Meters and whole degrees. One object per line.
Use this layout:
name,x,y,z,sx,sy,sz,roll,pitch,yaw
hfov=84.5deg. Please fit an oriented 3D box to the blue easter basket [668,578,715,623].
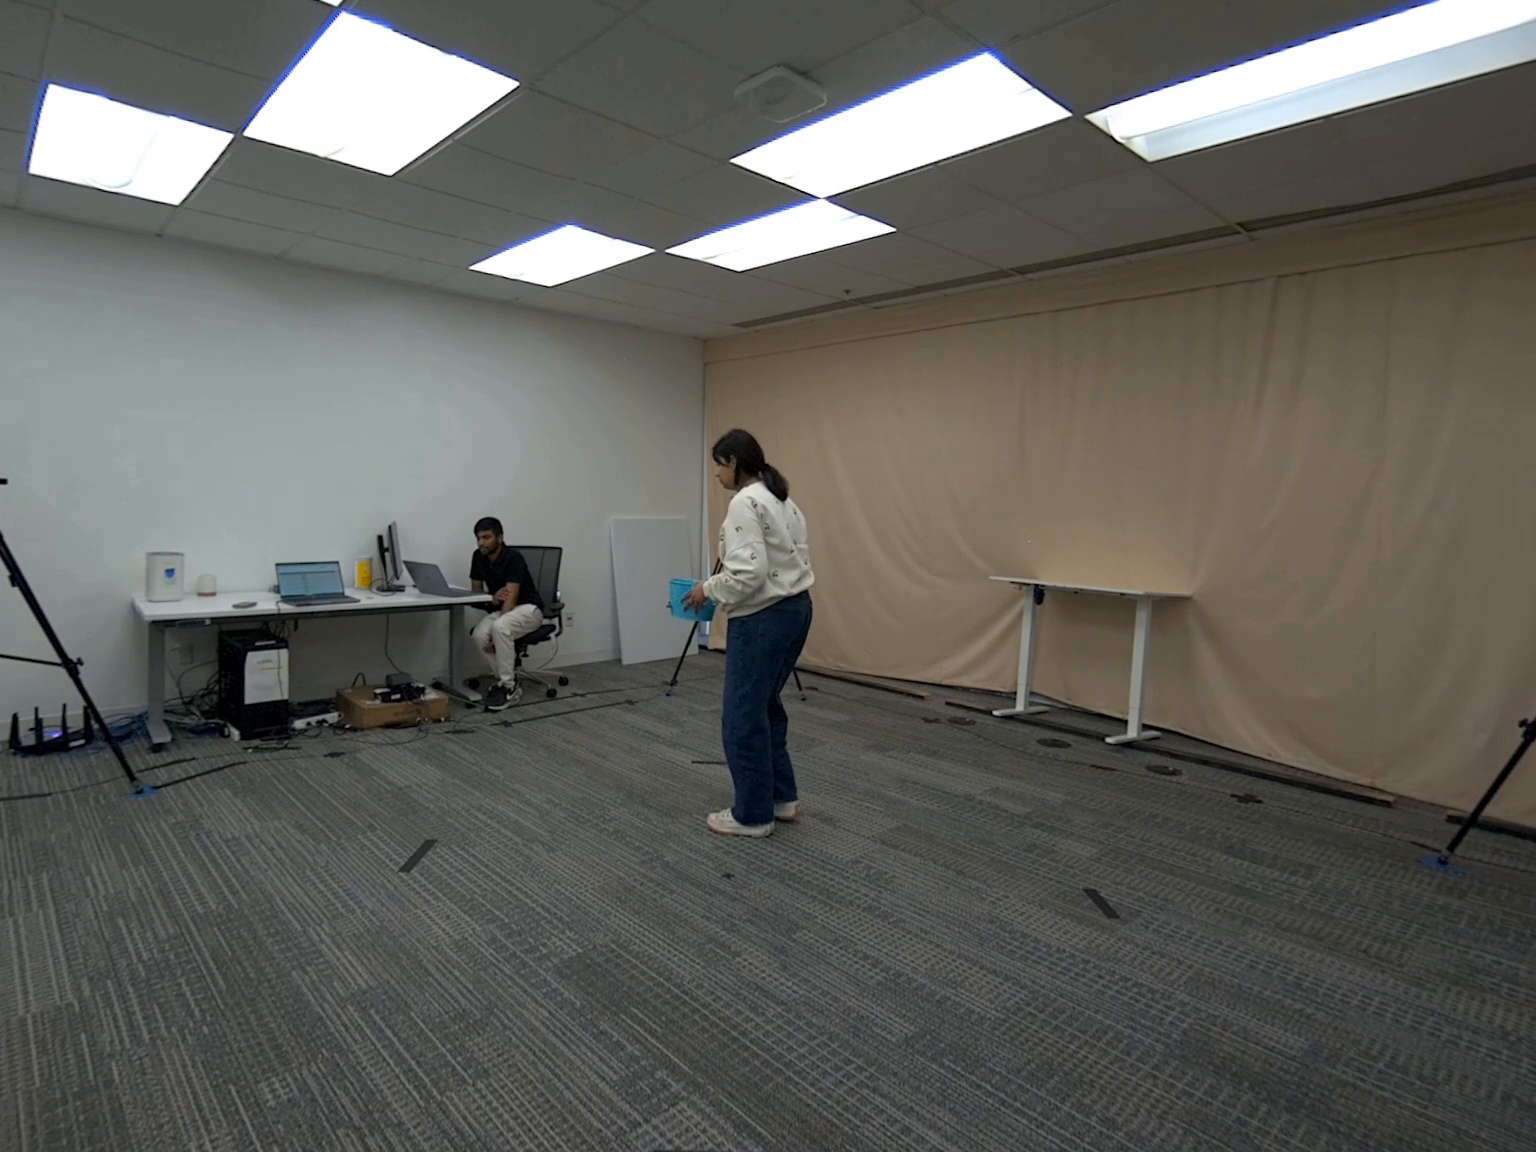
blue easter basket,-0.326,0.096,3.610,0.243,0.155,0.244,5,4,-2
